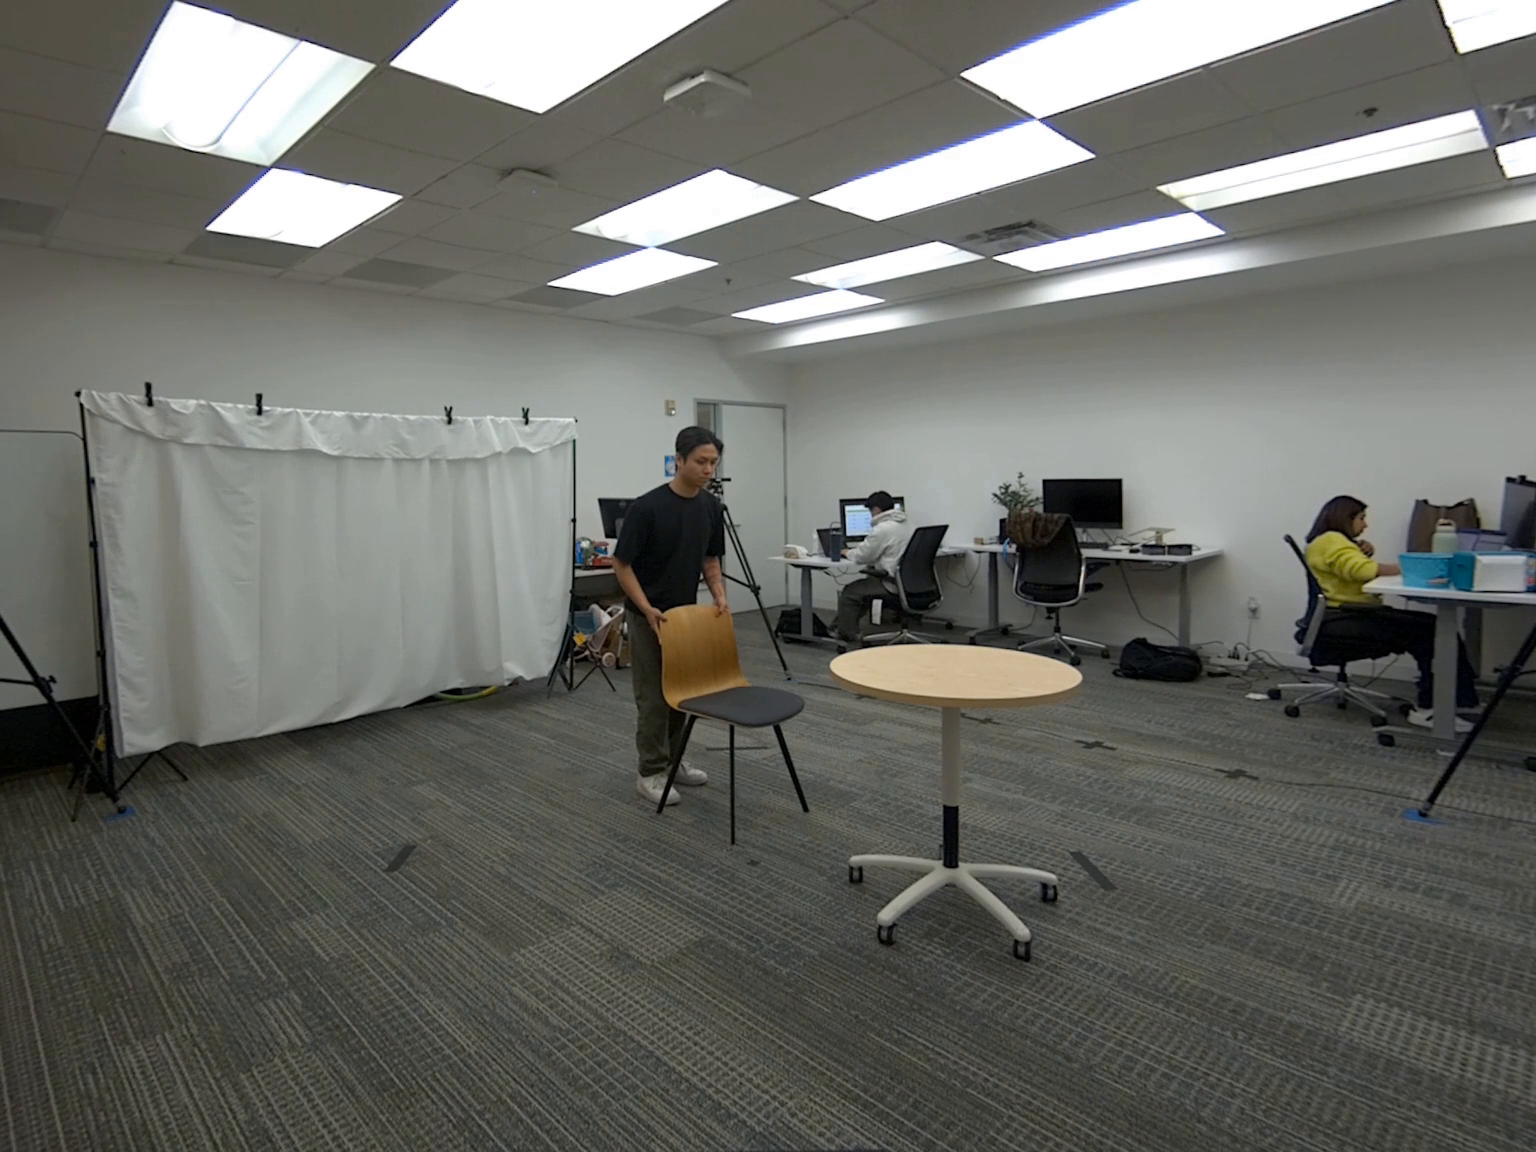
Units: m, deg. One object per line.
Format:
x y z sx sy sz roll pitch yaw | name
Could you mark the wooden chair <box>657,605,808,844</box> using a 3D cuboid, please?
-0.144 0.564 3.532 0.537 0.877 0.465 -3 1 44 | wooden chair
